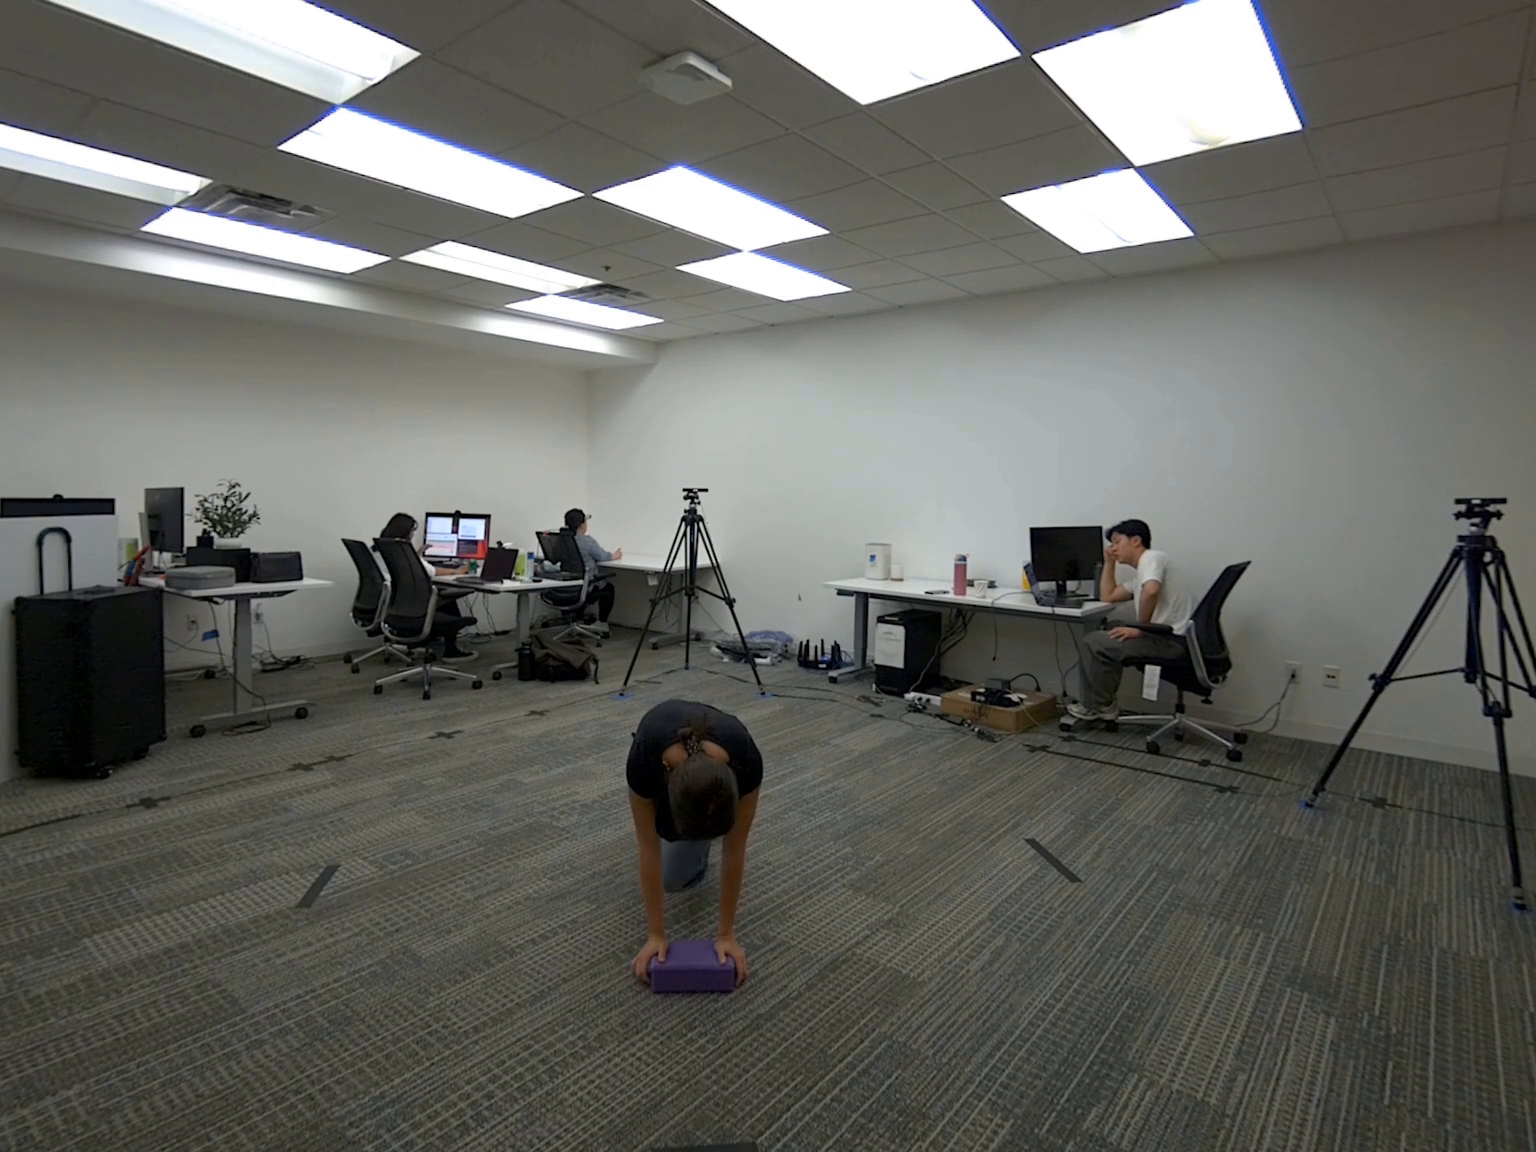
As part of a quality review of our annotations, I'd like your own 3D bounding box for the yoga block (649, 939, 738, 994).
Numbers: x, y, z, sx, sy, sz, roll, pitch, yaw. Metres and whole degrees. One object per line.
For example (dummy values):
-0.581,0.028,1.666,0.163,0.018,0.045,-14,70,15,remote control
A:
-0.218,1.098,2.409,0.228,0.076,0.150,2,3,-4,yoga block
